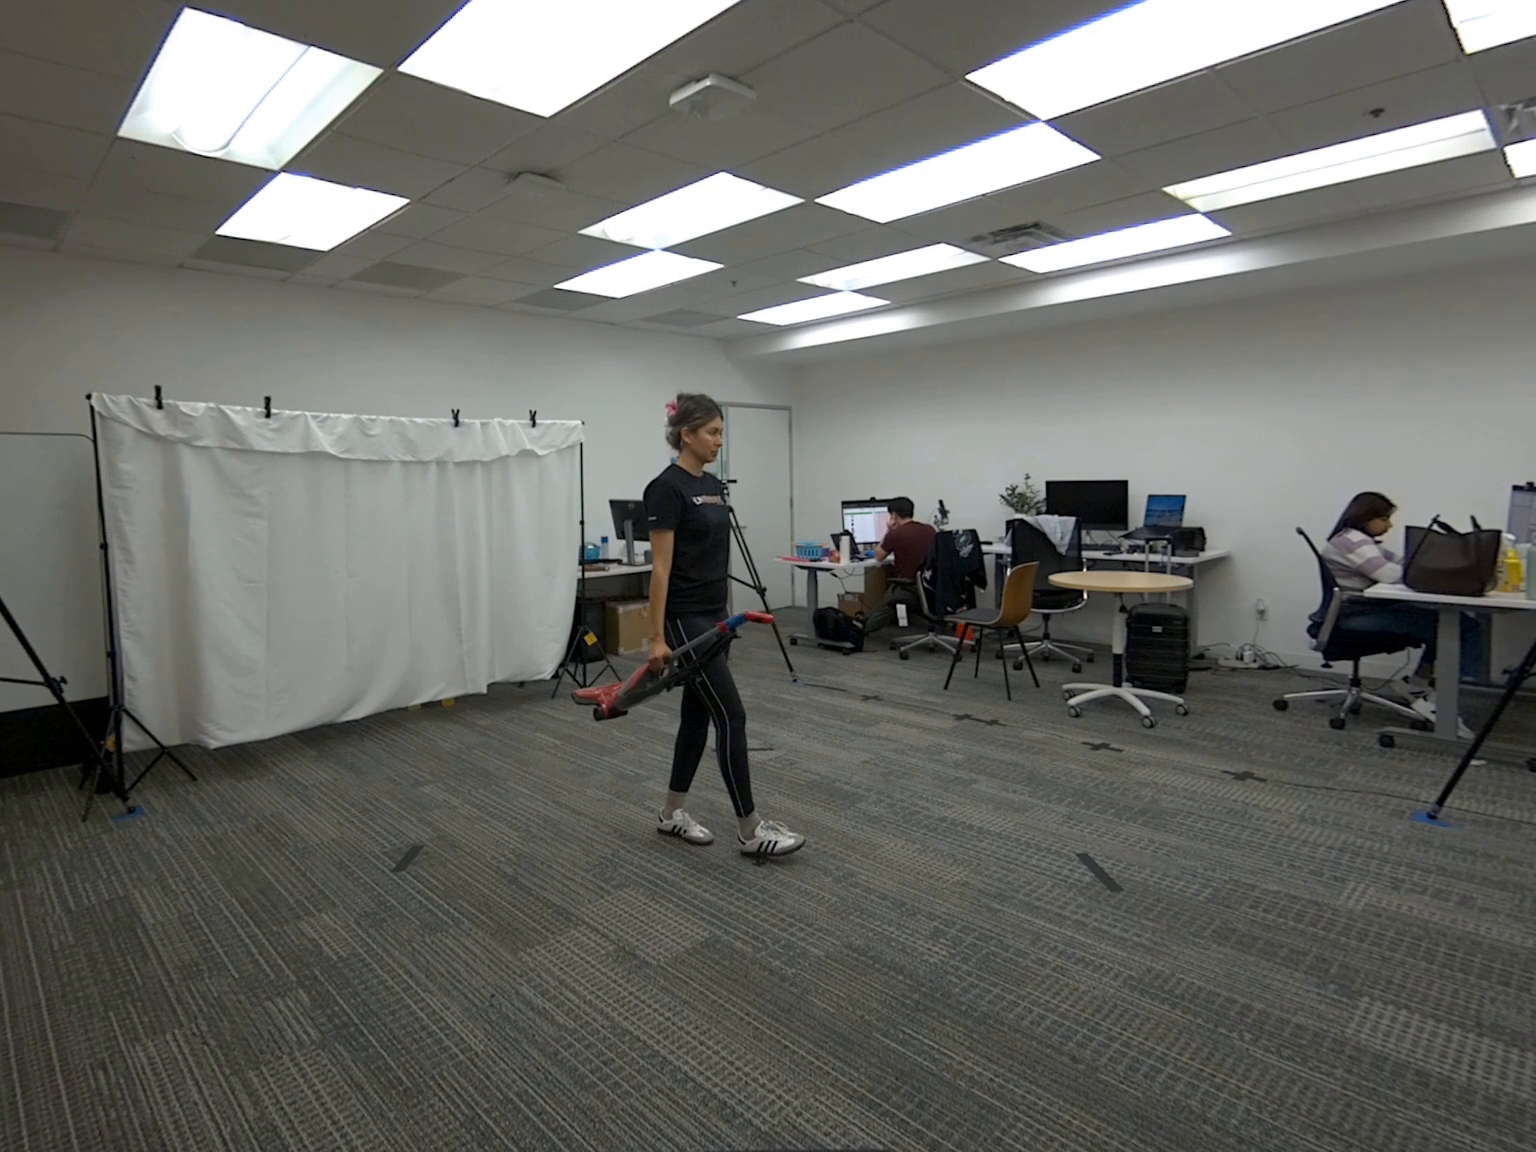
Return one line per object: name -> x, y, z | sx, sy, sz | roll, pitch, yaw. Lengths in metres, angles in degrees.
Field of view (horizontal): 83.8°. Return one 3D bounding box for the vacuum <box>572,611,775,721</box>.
vacuum -> -0.321, 0.321, 2.963 | 0.245, 0.147, 1.060 | 4, -23, -40
